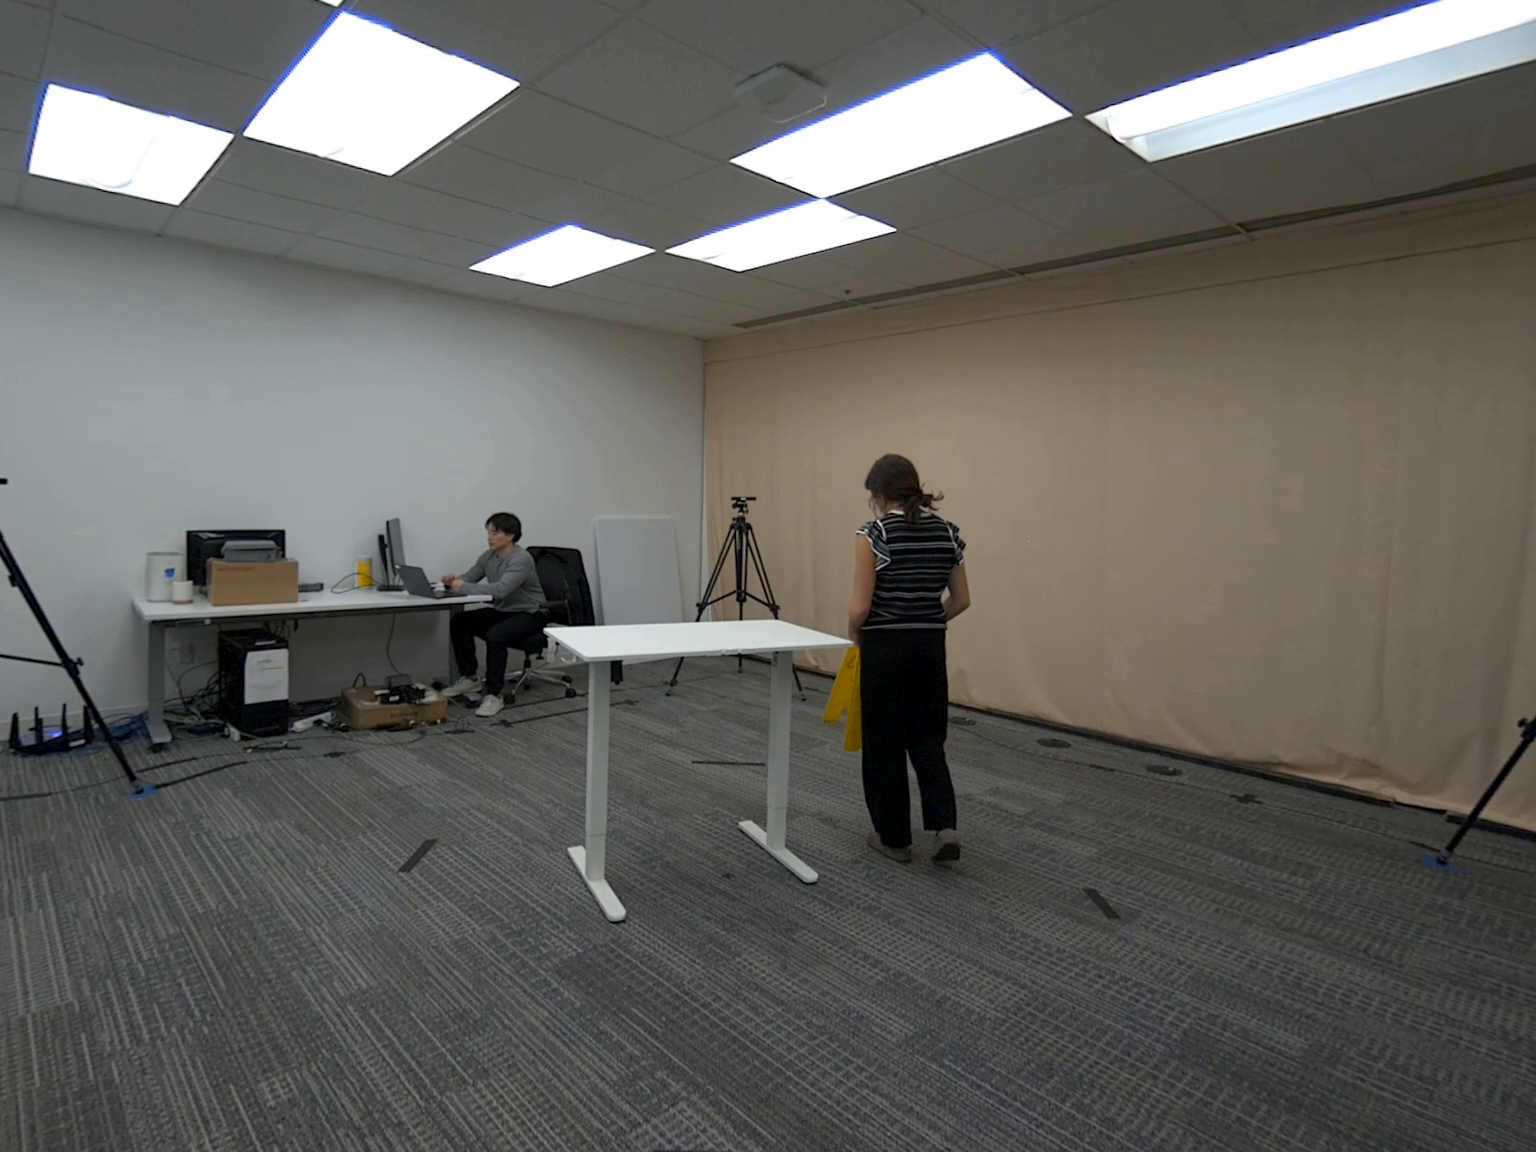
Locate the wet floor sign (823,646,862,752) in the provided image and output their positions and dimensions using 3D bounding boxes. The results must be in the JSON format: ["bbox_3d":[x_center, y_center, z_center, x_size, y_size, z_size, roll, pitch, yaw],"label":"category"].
[{"bbox_3d":[0.446,0.384,3.497,0.278,0.639,0.297,2,18,-20],"label":"wet floor sign"}]
